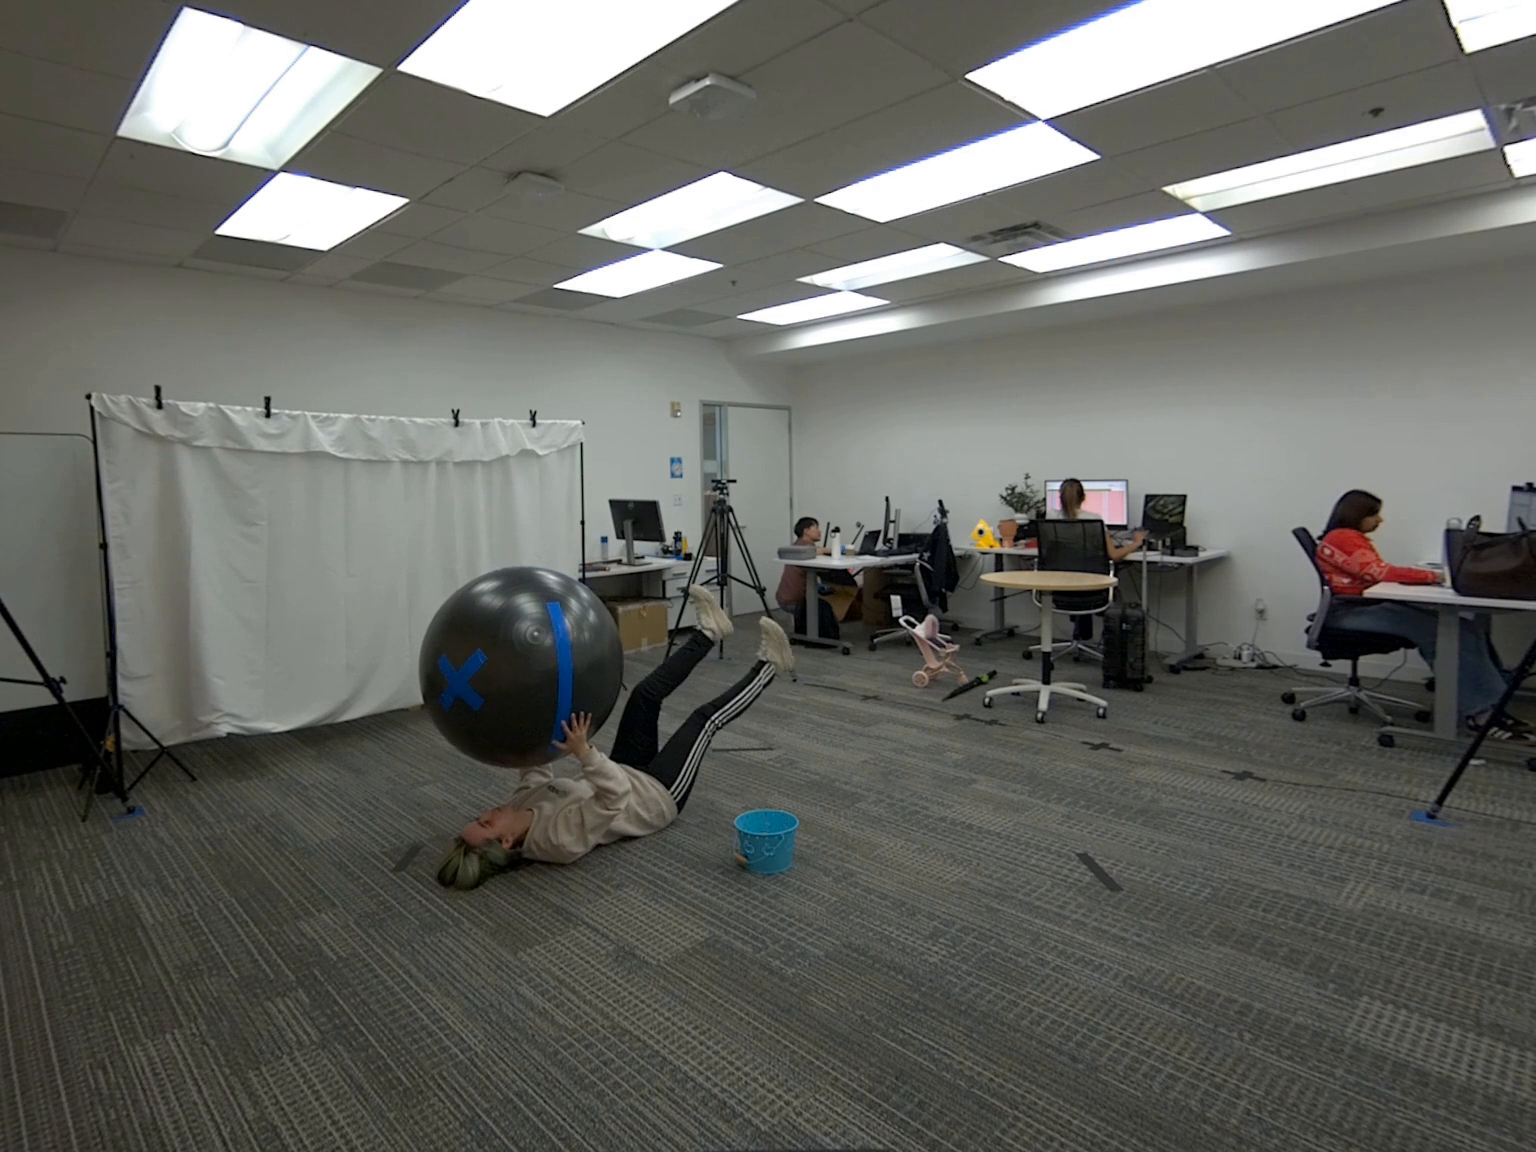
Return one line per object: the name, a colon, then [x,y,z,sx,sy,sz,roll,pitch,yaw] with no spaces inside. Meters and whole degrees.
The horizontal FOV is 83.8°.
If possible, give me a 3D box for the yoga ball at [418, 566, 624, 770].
yoga ball: [-0.937,0.346,3.246,0.757,0.755,0.762,-1,5,-2]
